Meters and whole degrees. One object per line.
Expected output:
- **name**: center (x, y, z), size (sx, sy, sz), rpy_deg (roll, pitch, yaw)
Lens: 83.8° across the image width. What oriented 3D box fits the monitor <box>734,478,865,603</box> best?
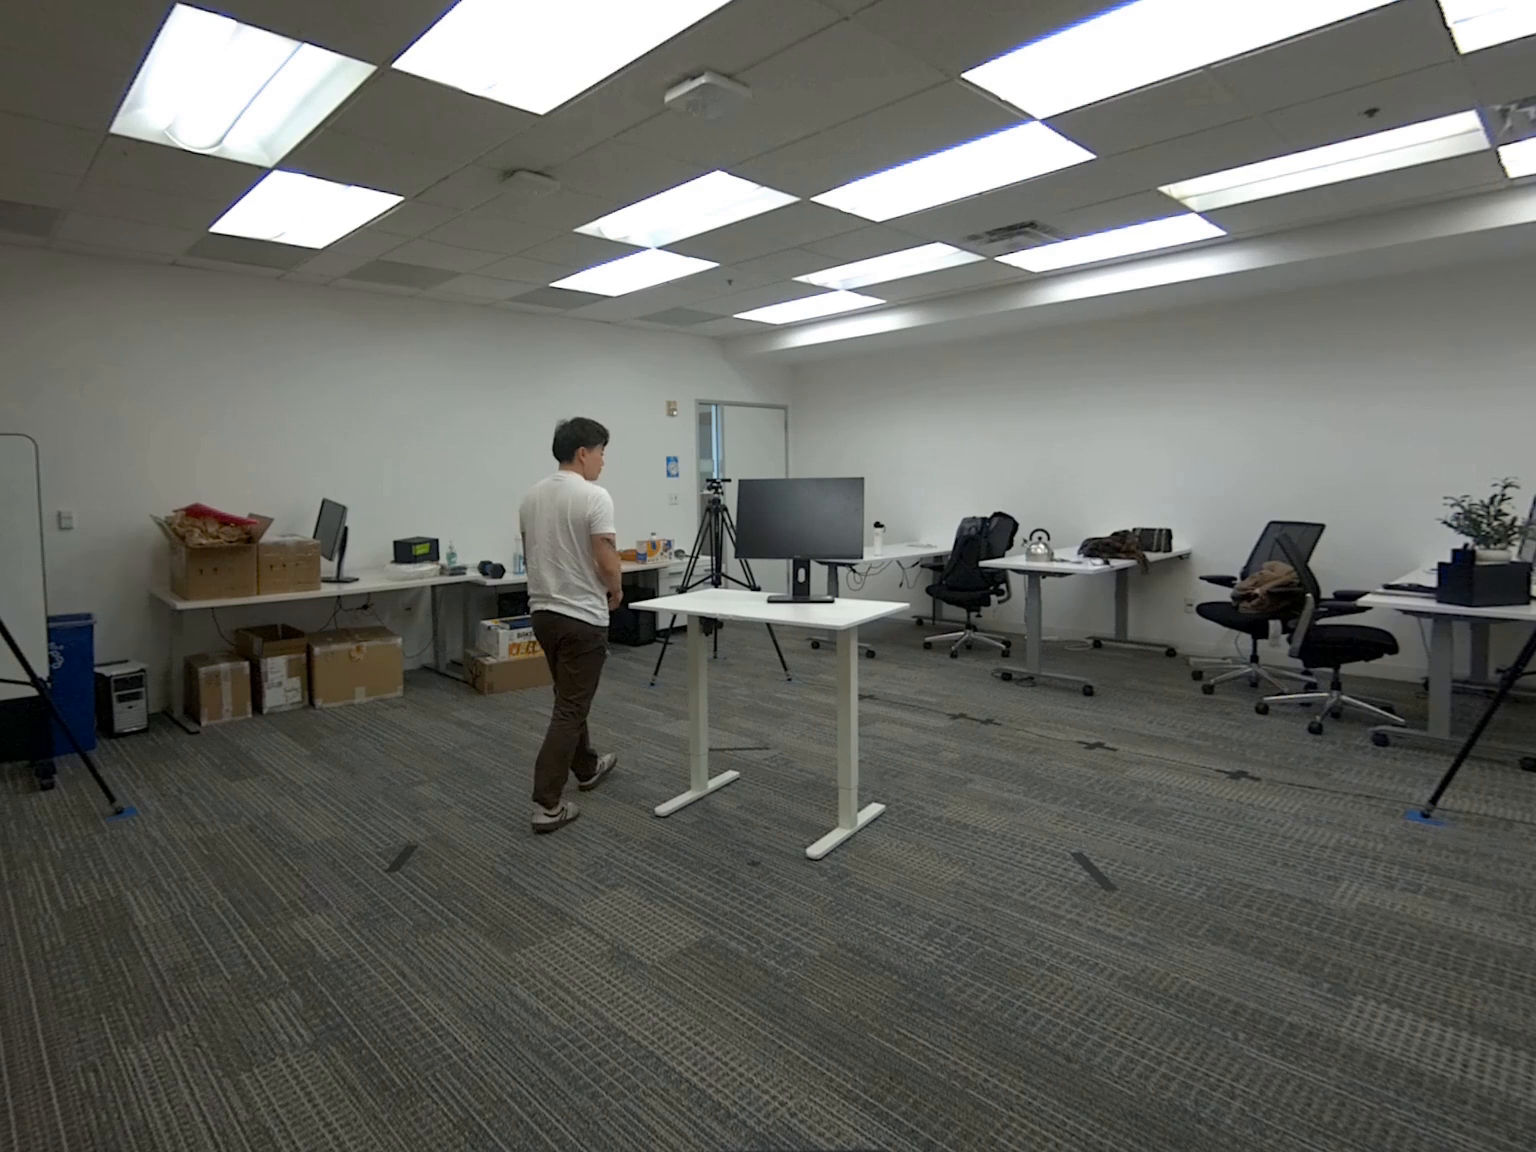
- **monitor**: center (0.134, -0.151, 3.605), size (0.544, 0.522, 0.185), rpy_deg (0, 0, 10)
